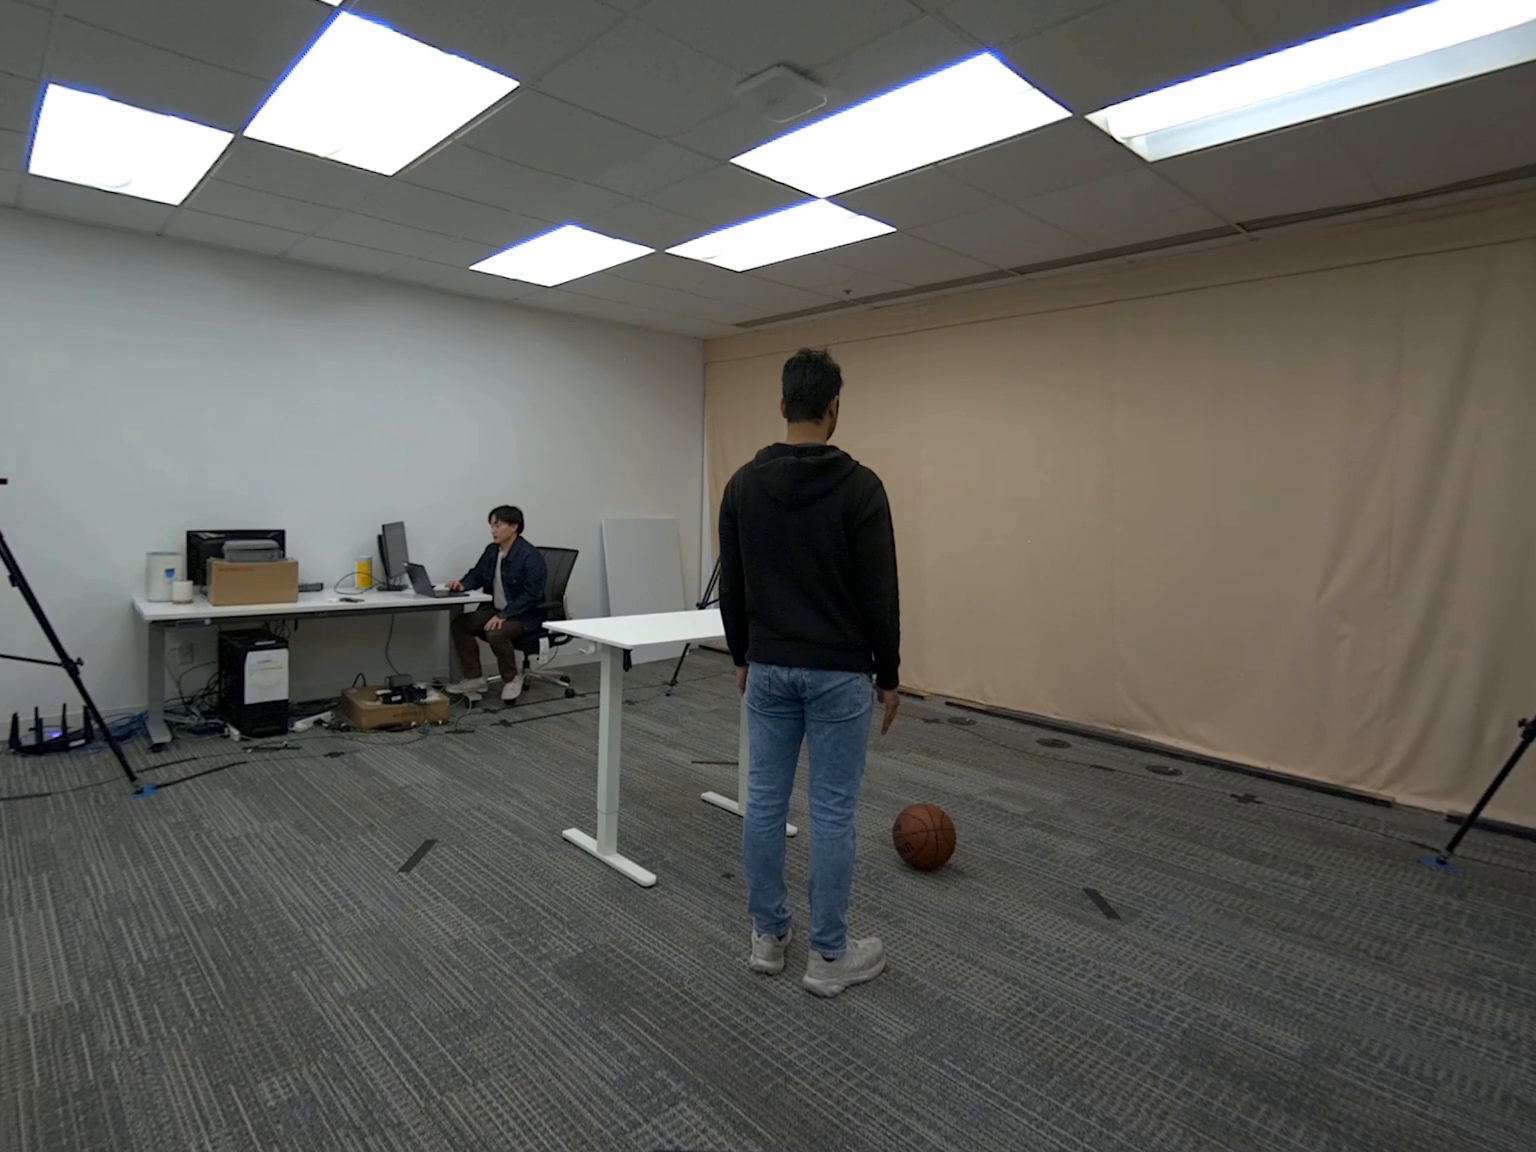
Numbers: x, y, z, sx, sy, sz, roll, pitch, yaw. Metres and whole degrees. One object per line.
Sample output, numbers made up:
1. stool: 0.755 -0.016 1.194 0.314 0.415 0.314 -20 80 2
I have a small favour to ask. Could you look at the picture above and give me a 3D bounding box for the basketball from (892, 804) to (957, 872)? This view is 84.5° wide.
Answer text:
1. basketball: 0.590 0.989 3.224 0.236 0.235 0.237 1 4 -1
